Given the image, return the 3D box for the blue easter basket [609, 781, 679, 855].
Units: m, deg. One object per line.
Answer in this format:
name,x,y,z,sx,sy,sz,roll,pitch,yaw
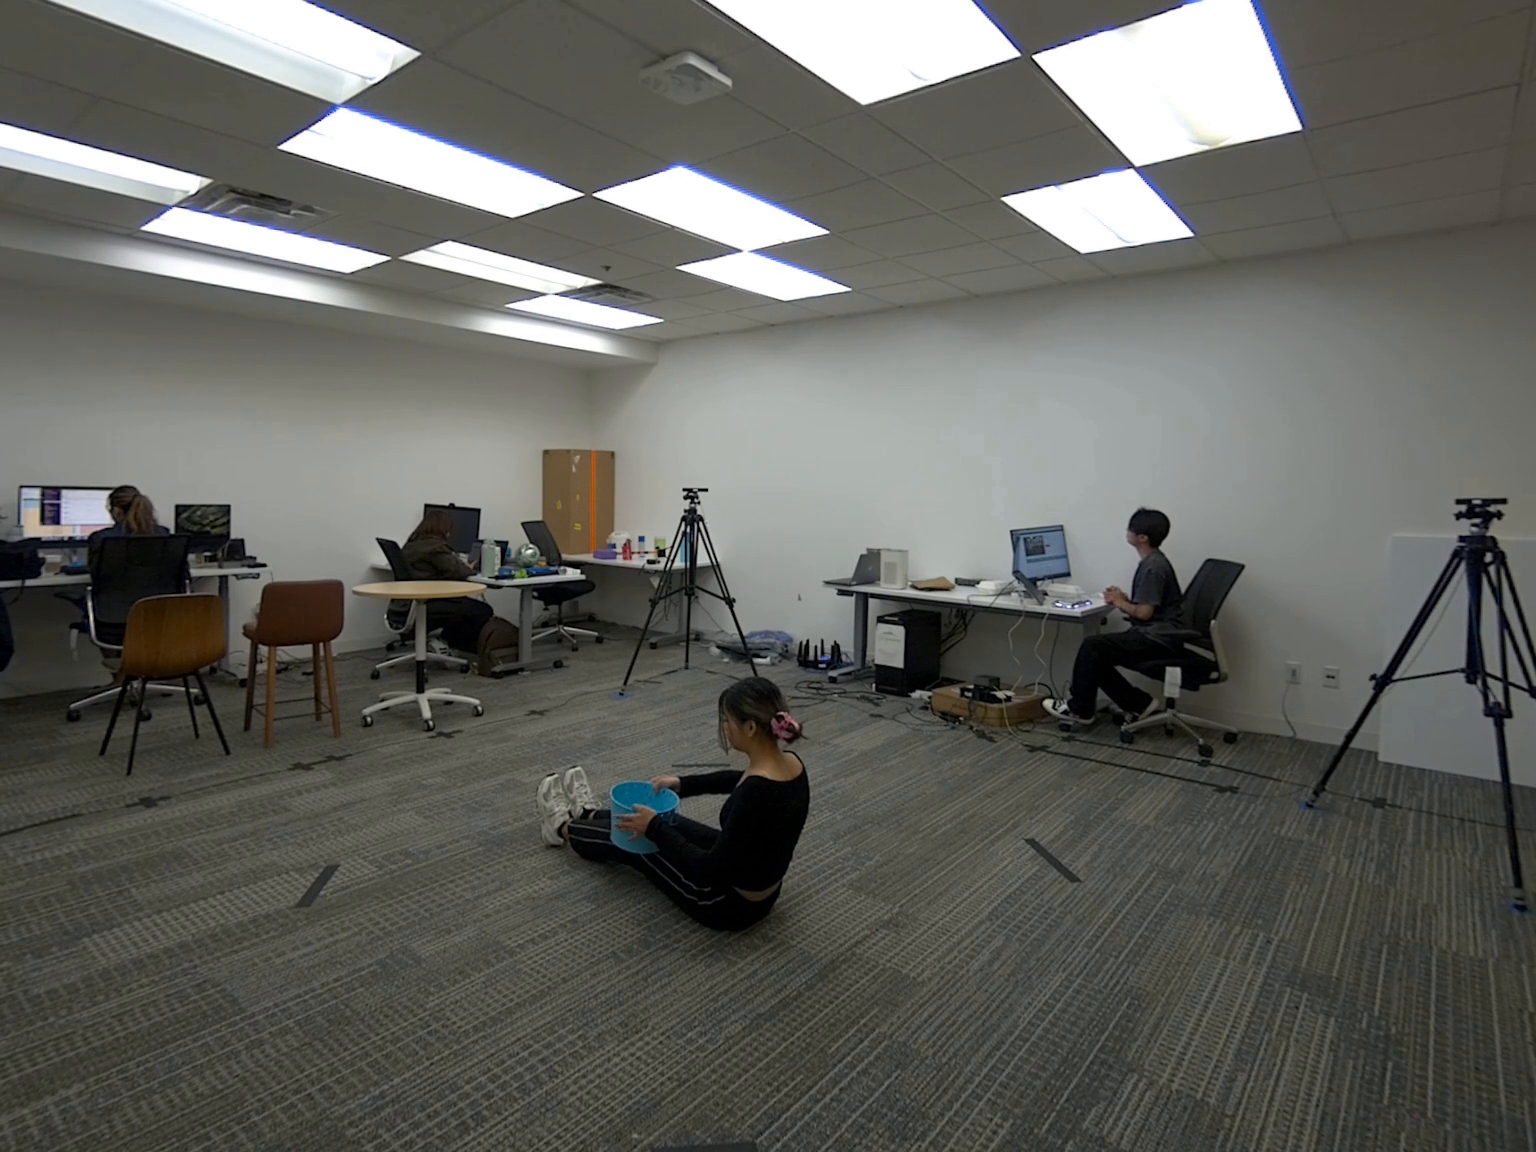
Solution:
blue easter basket,-0.420,0.800,2.812,0.243,0.155,0.246,8,9,-3
